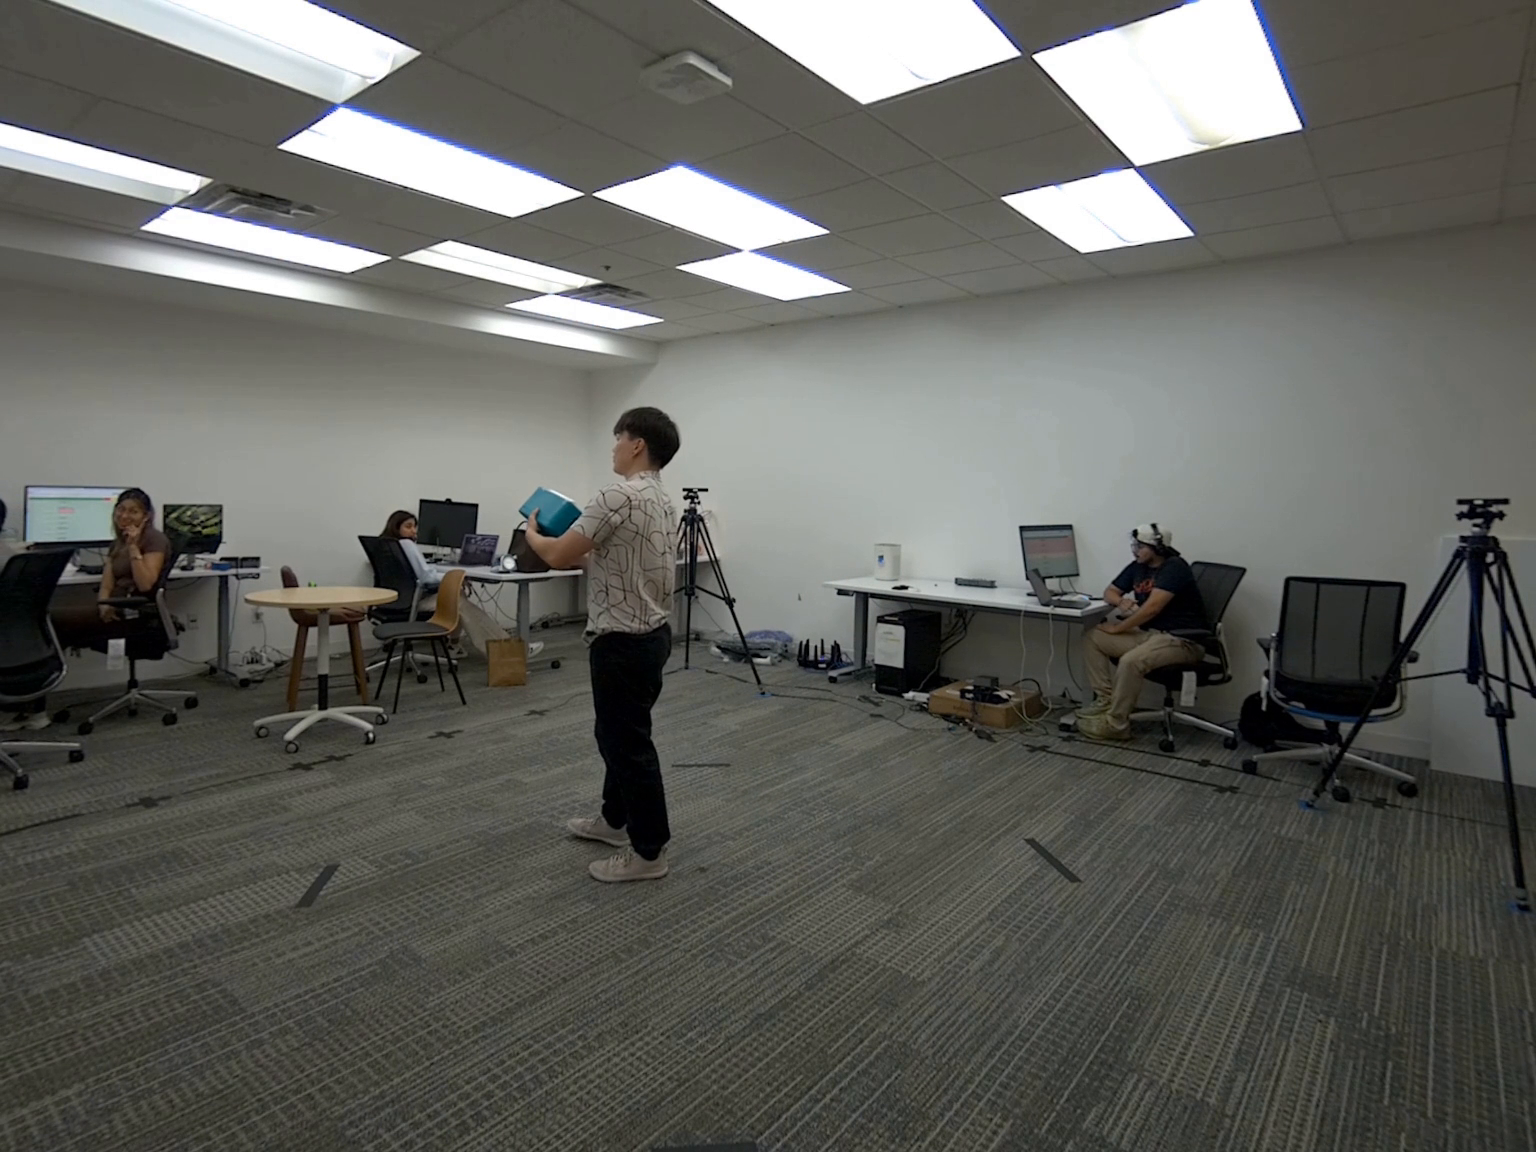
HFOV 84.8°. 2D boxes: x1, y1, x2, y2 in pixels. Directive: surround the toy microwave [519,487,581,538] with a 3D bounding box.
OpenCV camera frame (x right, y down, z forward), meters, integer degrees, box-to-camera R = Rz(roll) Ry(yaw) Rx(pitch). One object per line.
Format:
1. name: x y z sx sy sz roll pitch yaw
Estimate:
1. toy microwave: -0.786 -0.218 3.163 0.298 0.152 0.177 25 -18 50
